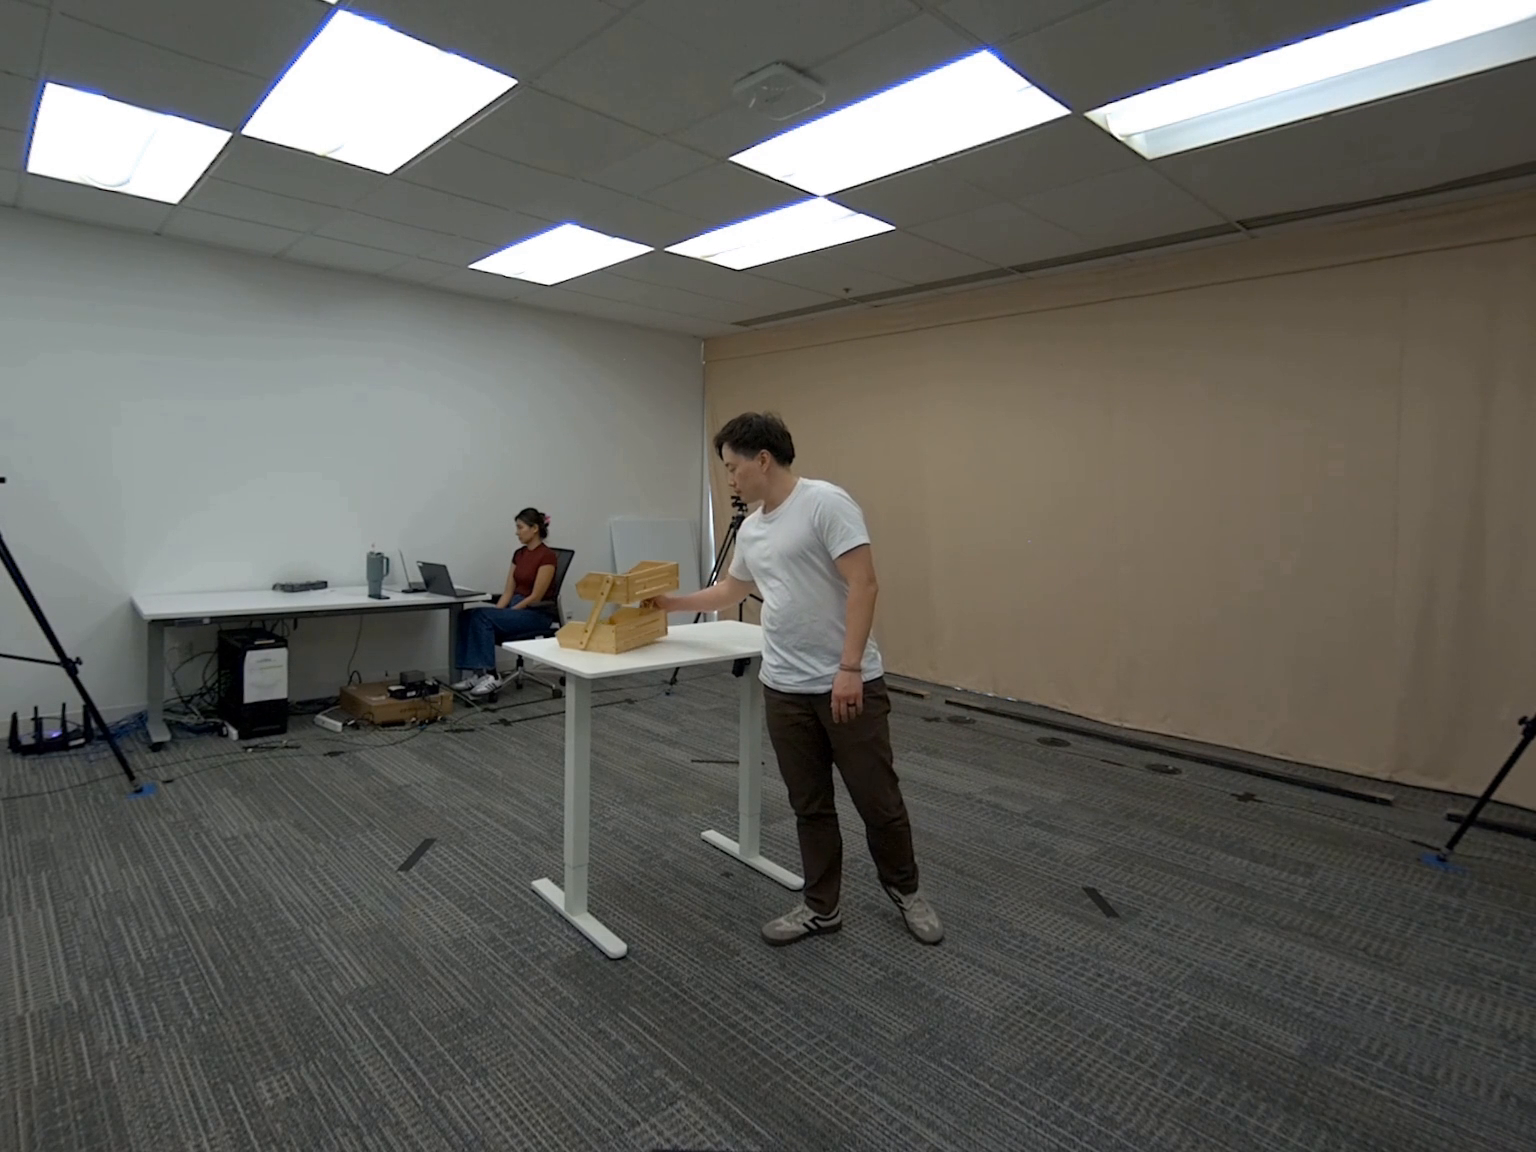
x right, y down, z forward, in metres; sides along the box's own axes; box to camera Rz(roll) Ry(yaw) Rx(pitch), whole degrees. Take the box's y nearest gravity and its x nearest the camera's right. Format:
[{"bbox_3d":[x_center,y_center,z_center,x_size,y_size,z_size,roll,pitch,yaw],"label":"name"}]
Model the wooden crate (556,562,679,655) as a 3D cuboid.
[{"bbox_3d":[-0.517,0.090,2.847,0.308,0.272,0.320,4,10,27],"label":"wooden crate"}]
